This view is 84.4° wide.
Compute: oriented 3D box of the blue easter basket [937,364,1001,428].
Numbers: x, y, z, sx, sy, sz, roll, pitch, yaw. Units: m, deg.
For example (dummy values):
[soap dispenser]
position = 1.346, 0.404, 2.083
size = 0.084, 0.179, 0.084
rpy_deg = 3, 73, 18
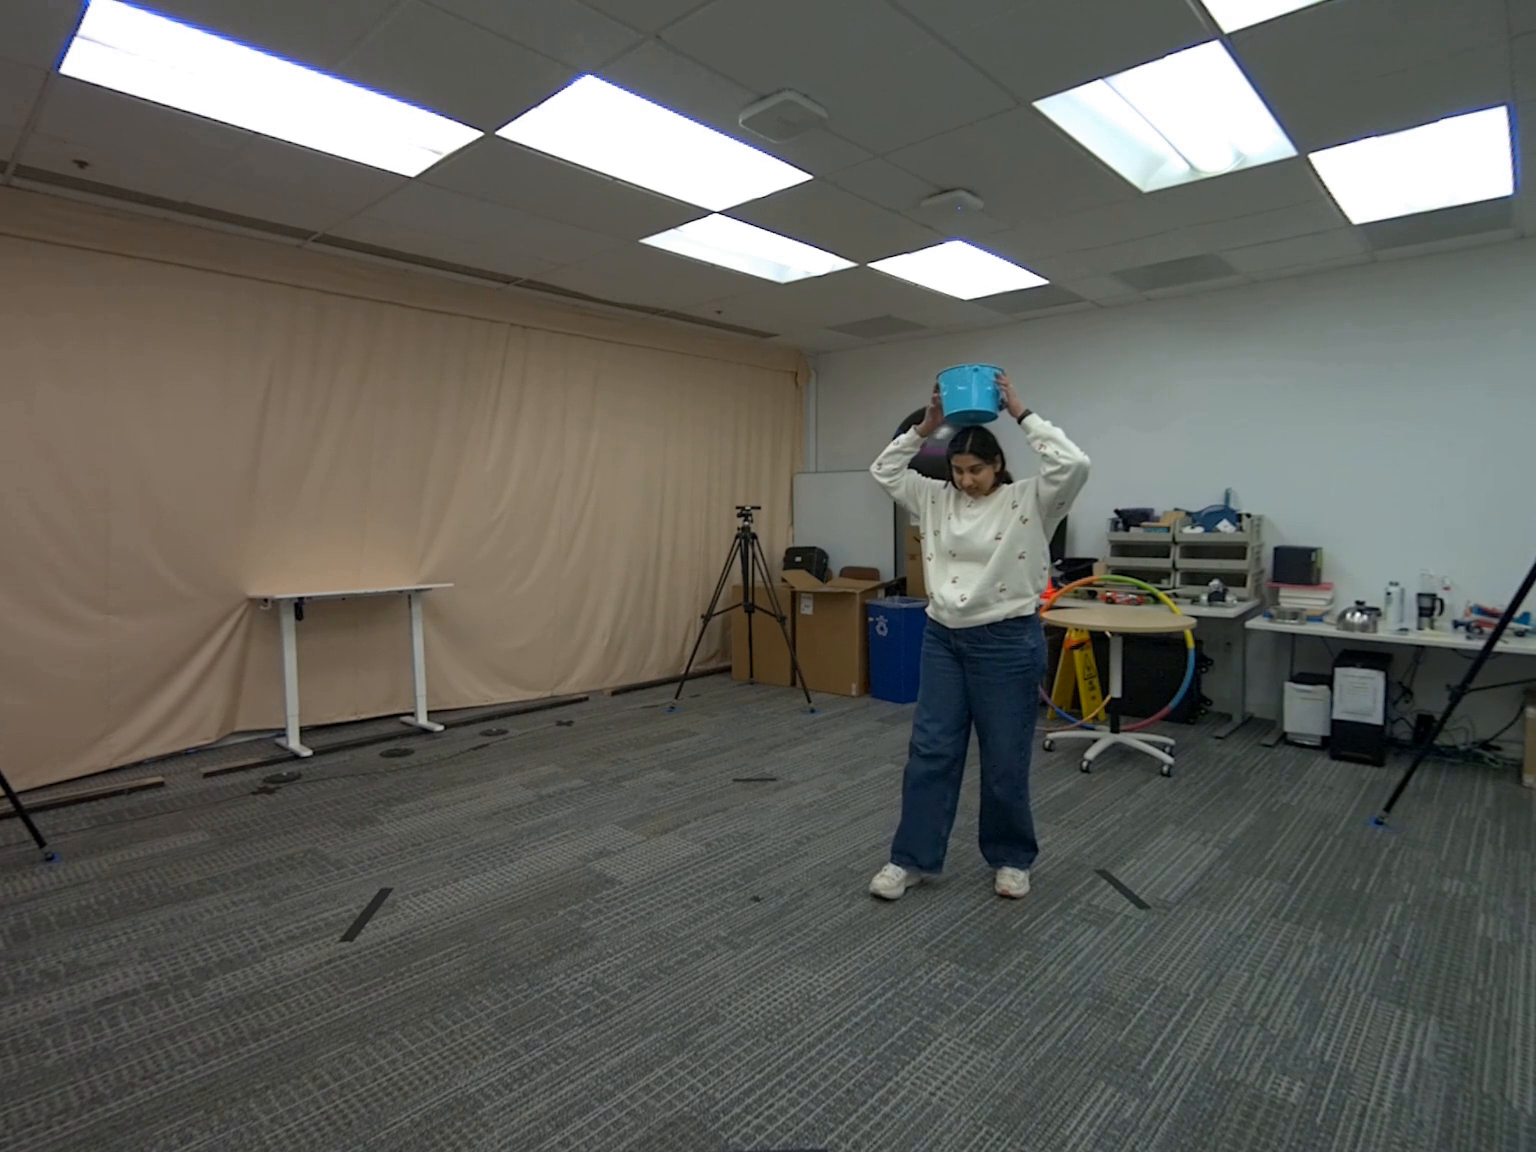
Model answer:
[blue easter basket]
position = 0.724, -0.623, 2.920
size = 0.243, 0.156, 0.242
rpy_deg = 3, -7, -1
